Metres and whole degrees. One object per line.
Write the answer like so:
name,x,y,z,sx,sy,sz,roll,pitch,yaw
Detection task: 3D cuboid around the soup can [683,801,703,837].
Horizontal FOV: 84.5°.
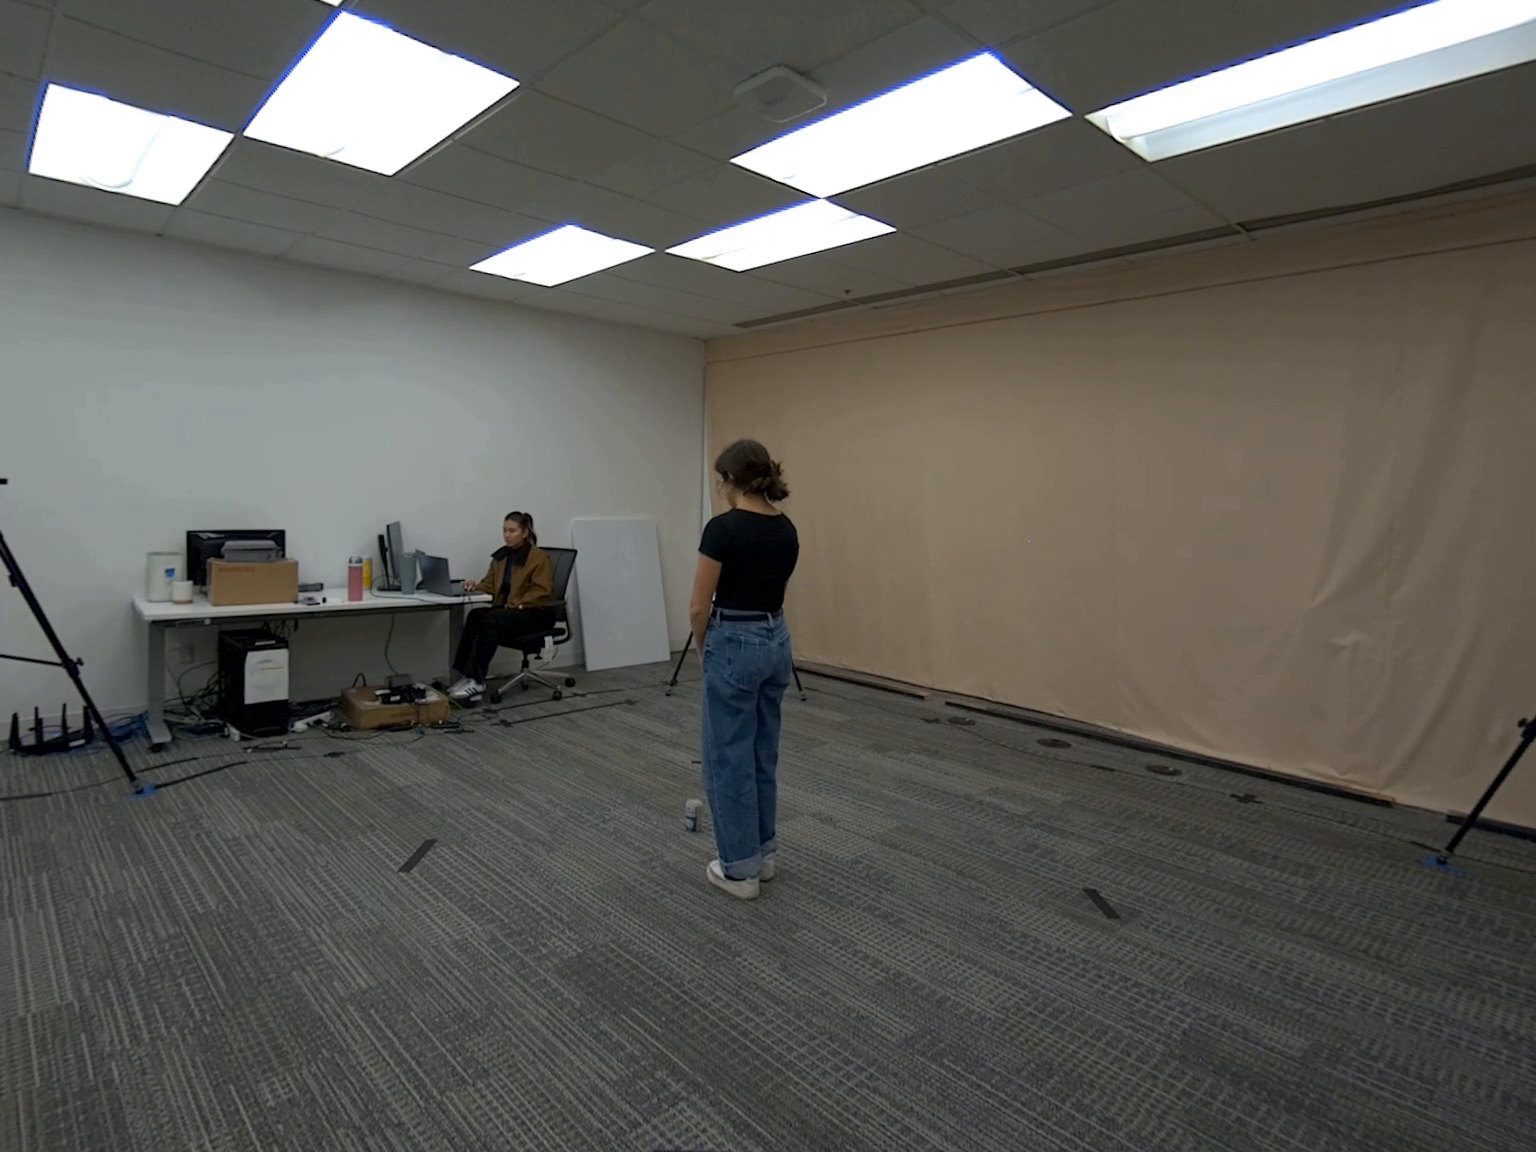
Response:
soup can,-0.315,1.011,3.526,0.067,0.121,0.067,4,0,-1
